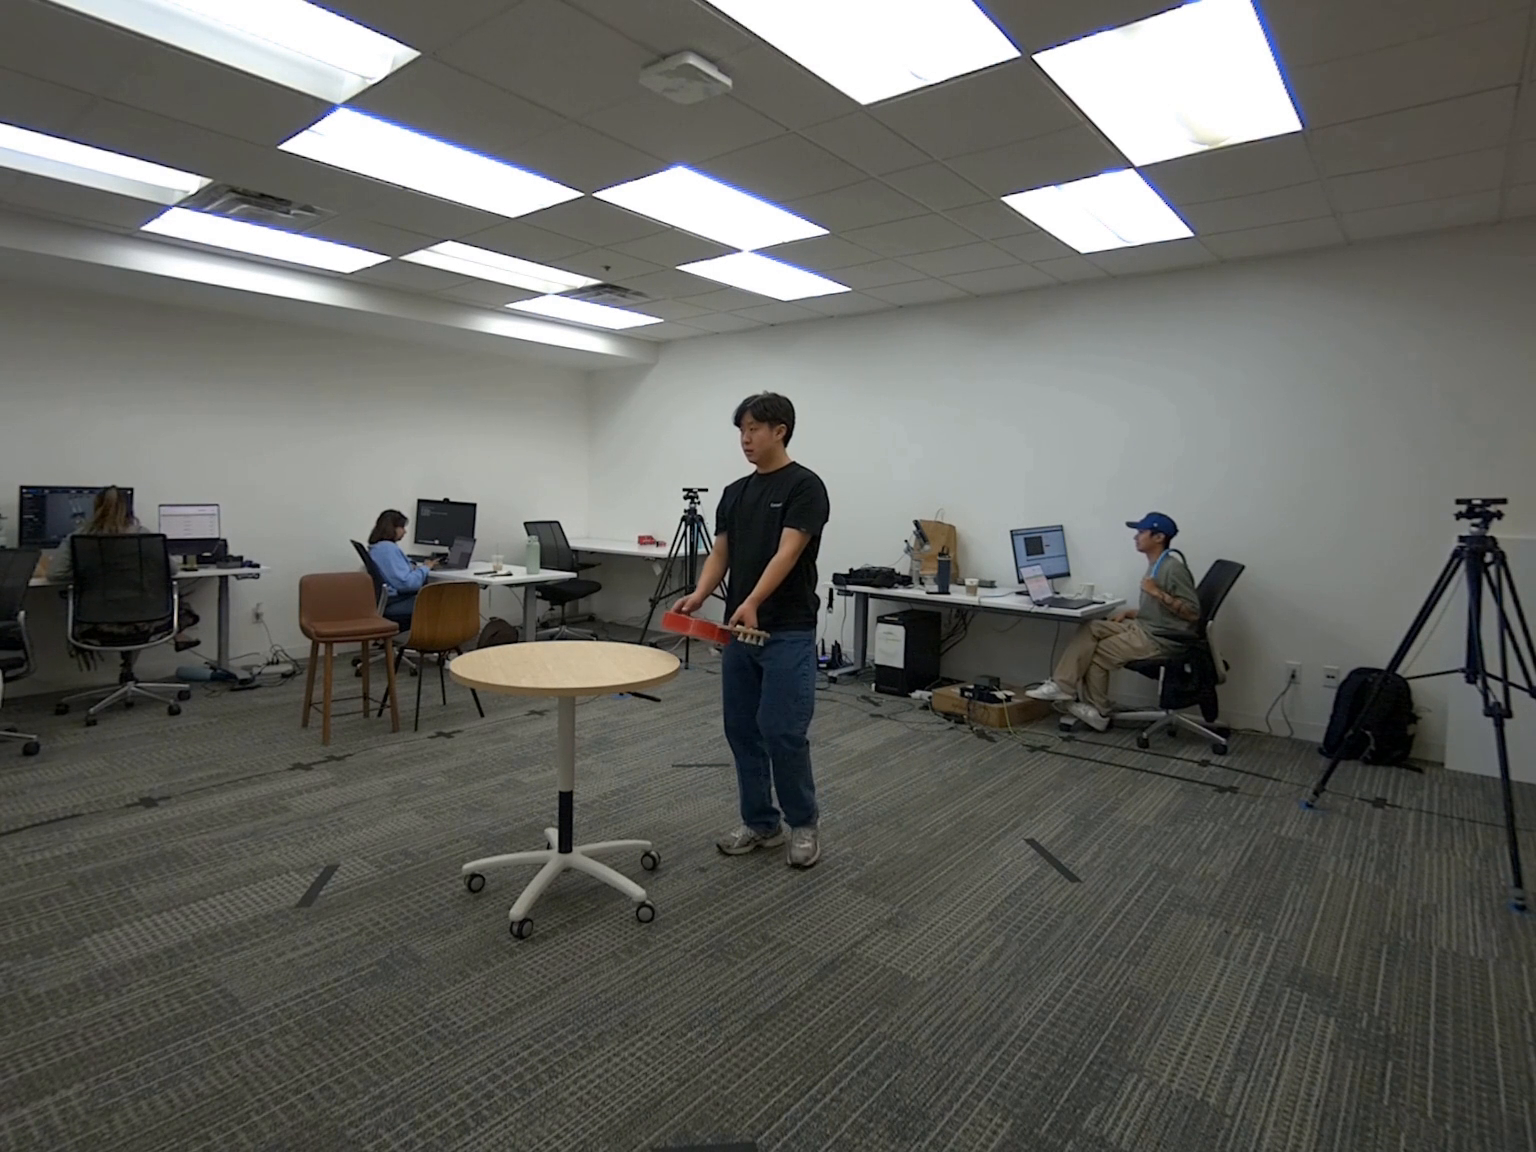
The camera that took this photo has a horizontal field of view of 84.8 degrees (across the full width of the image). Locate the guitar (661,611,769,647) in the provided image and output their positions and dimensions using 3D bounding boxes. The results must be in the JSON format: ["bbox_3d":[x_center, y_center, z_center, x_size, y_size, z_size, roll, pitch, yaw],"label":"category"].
[{"bbox_3d":[-0.207,0.186,2.932,0.187,0.071,0.511,21,-9,-29],"label":"guitar"}]
